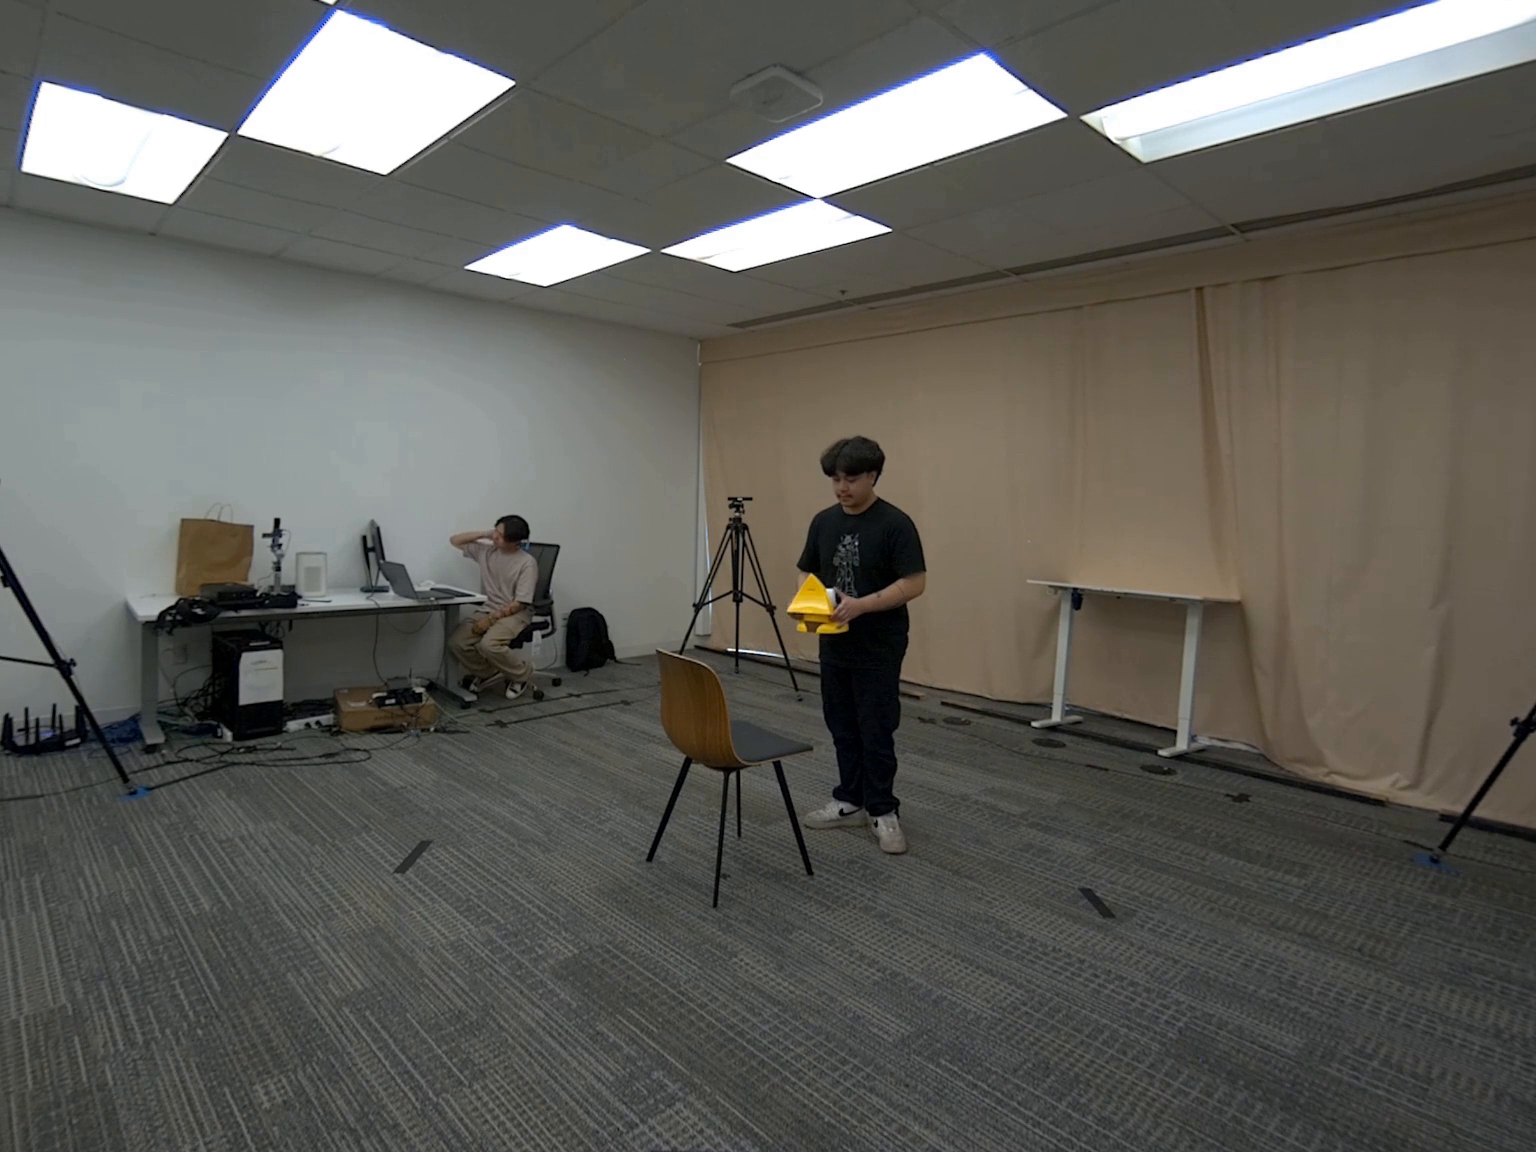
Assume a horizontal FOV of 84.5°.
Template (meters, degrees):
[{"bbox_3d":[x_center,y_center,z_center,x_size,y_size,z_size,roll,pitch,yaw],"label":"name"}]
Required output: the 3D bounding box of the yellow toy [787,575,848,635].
[{"bbox_3d":[0.196,0.103,3.344,0.210,0.230,0.189,4,5,41],"label":"yellow toy"}]
